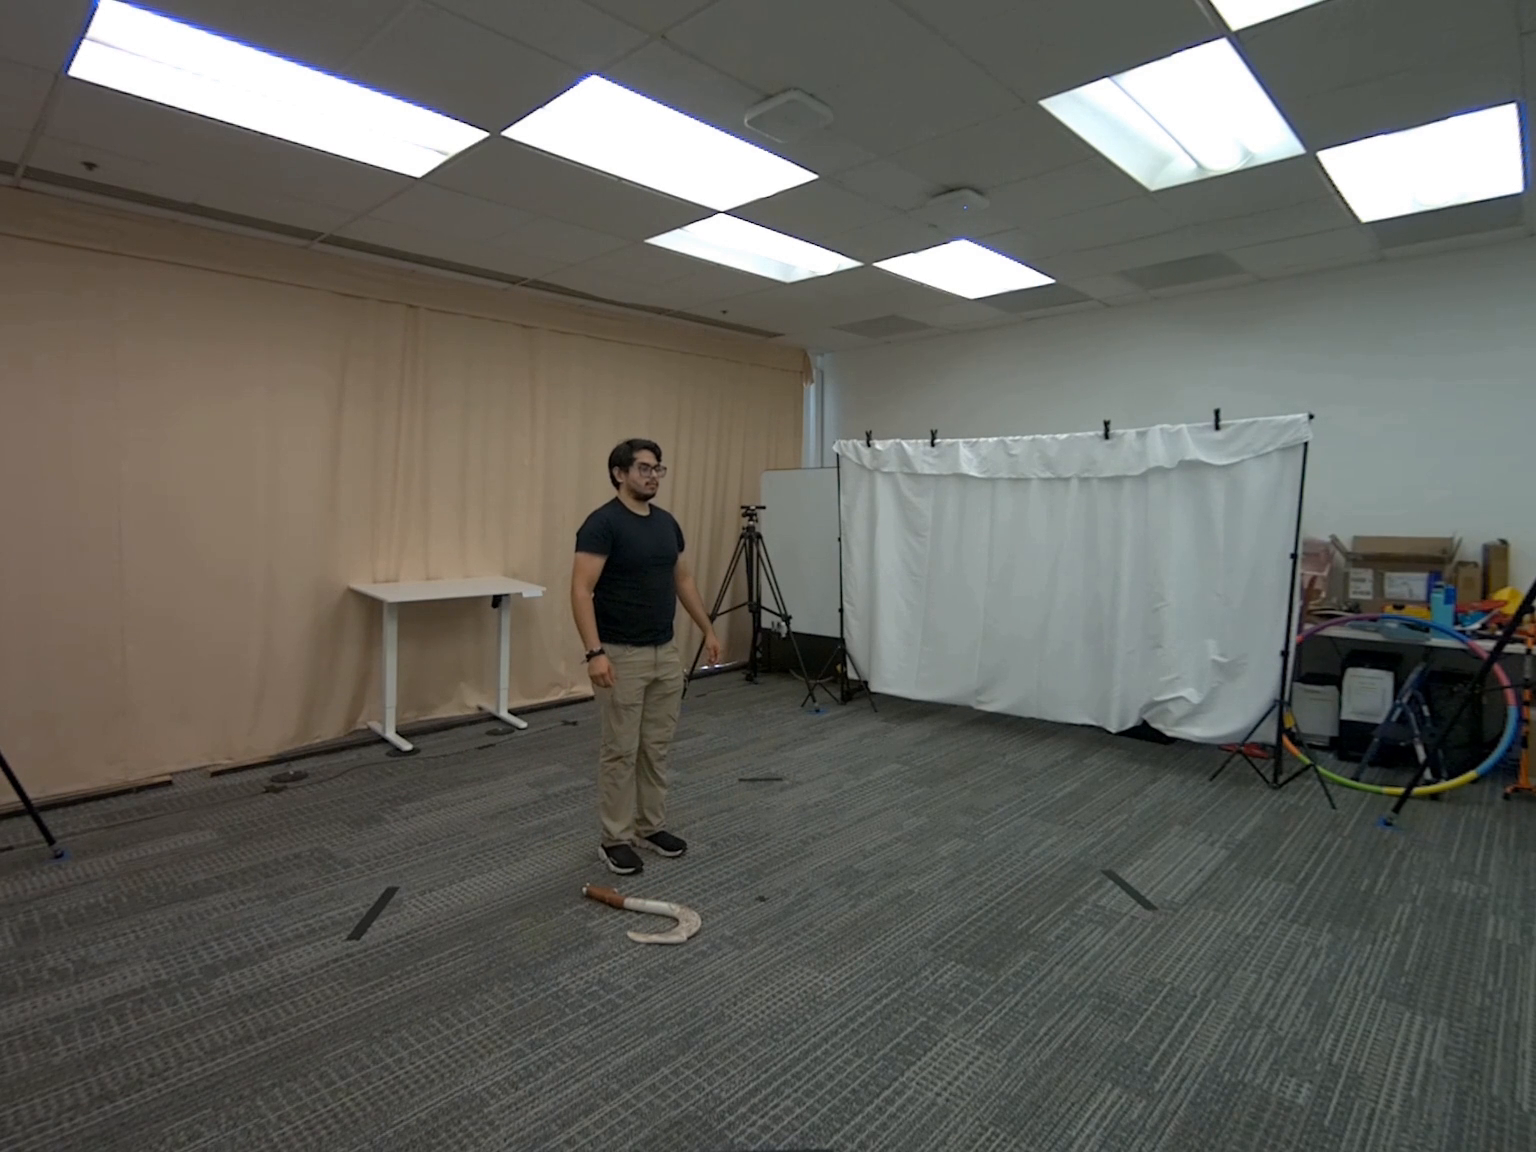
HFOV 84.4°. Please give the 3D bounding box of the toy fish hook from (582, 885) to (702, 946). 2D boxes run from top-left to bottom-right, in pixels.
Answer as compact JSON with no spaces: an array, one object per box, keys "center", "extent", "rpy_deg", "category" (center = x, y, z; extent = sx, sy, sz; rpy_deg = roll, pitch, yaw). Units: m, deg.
[{"center":[-0.463,1.138,2.841],"extent":[0.521,0.048,0.218],"rpy_deg":[2,4,31],"category":"toy fish hook"}]
